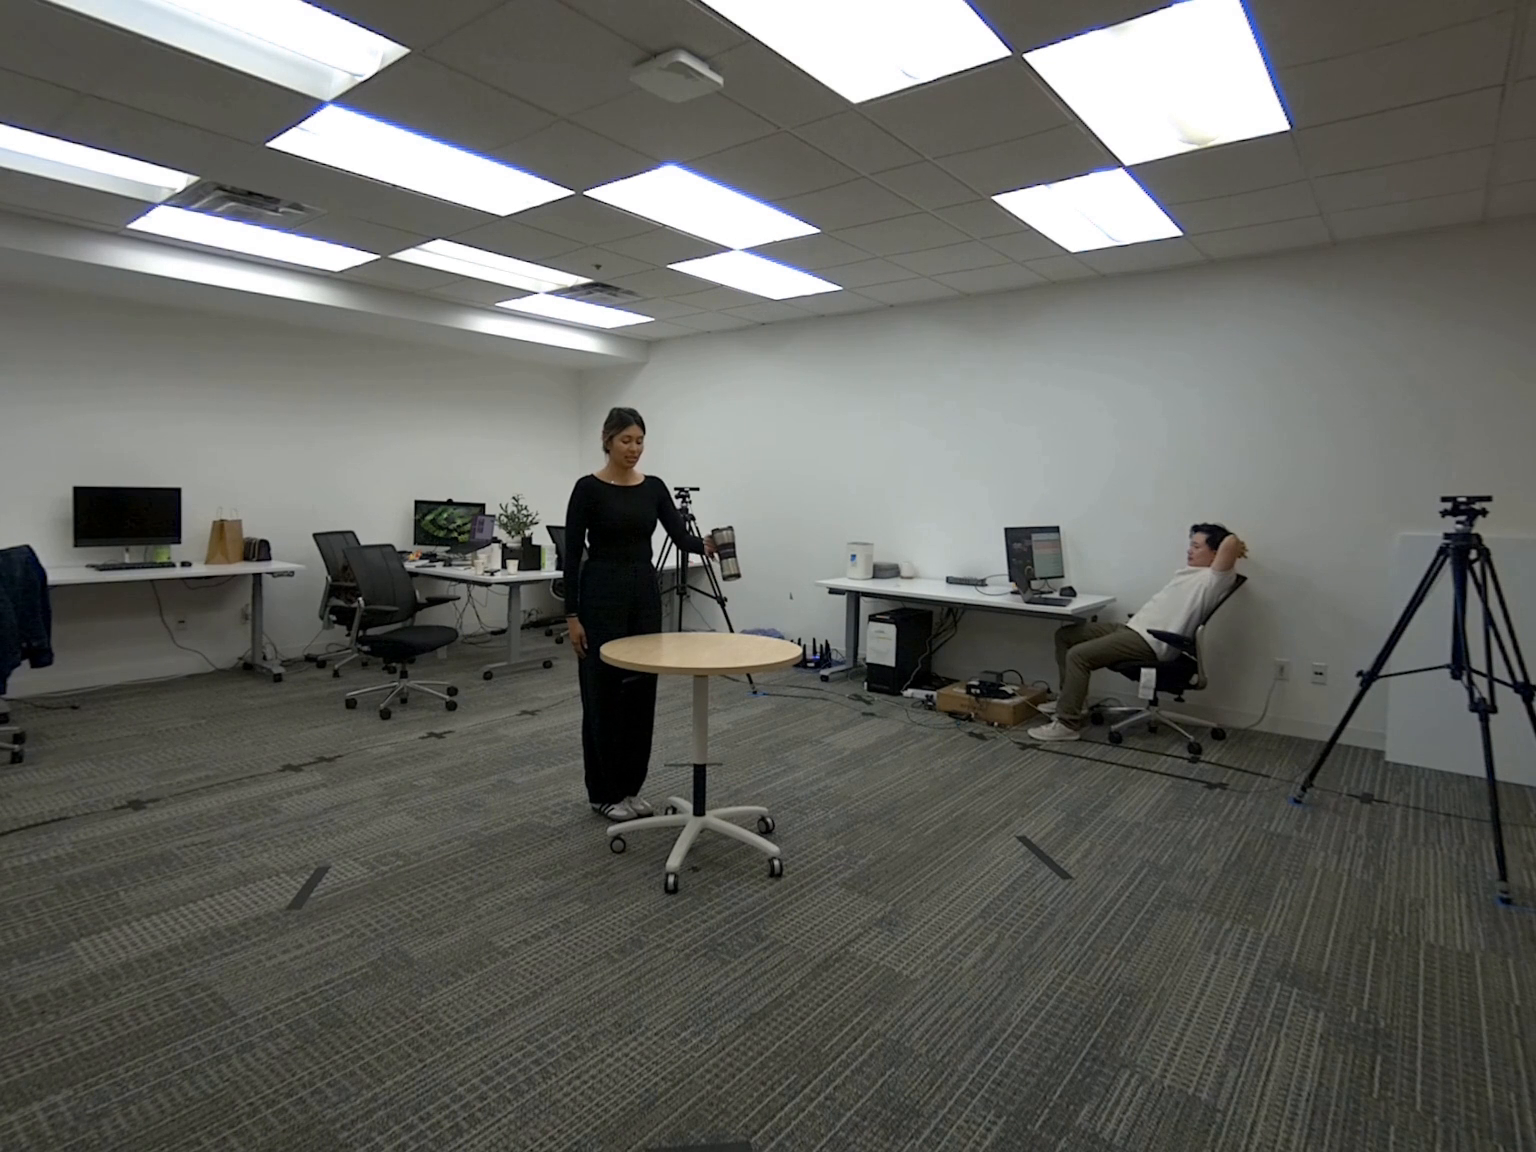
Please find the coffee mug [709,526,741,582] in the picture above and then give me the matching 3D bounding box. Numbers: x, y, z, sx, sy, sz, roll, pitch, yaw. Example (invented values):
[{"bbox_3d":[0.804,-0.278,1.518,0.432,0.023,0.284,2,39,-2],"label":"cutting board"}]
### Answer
[{"bbox_3d":[-0.180,-0.072,3.241,0.085,0.205,0.124,-5,-10,-32],"label":"coffee mug"}]
